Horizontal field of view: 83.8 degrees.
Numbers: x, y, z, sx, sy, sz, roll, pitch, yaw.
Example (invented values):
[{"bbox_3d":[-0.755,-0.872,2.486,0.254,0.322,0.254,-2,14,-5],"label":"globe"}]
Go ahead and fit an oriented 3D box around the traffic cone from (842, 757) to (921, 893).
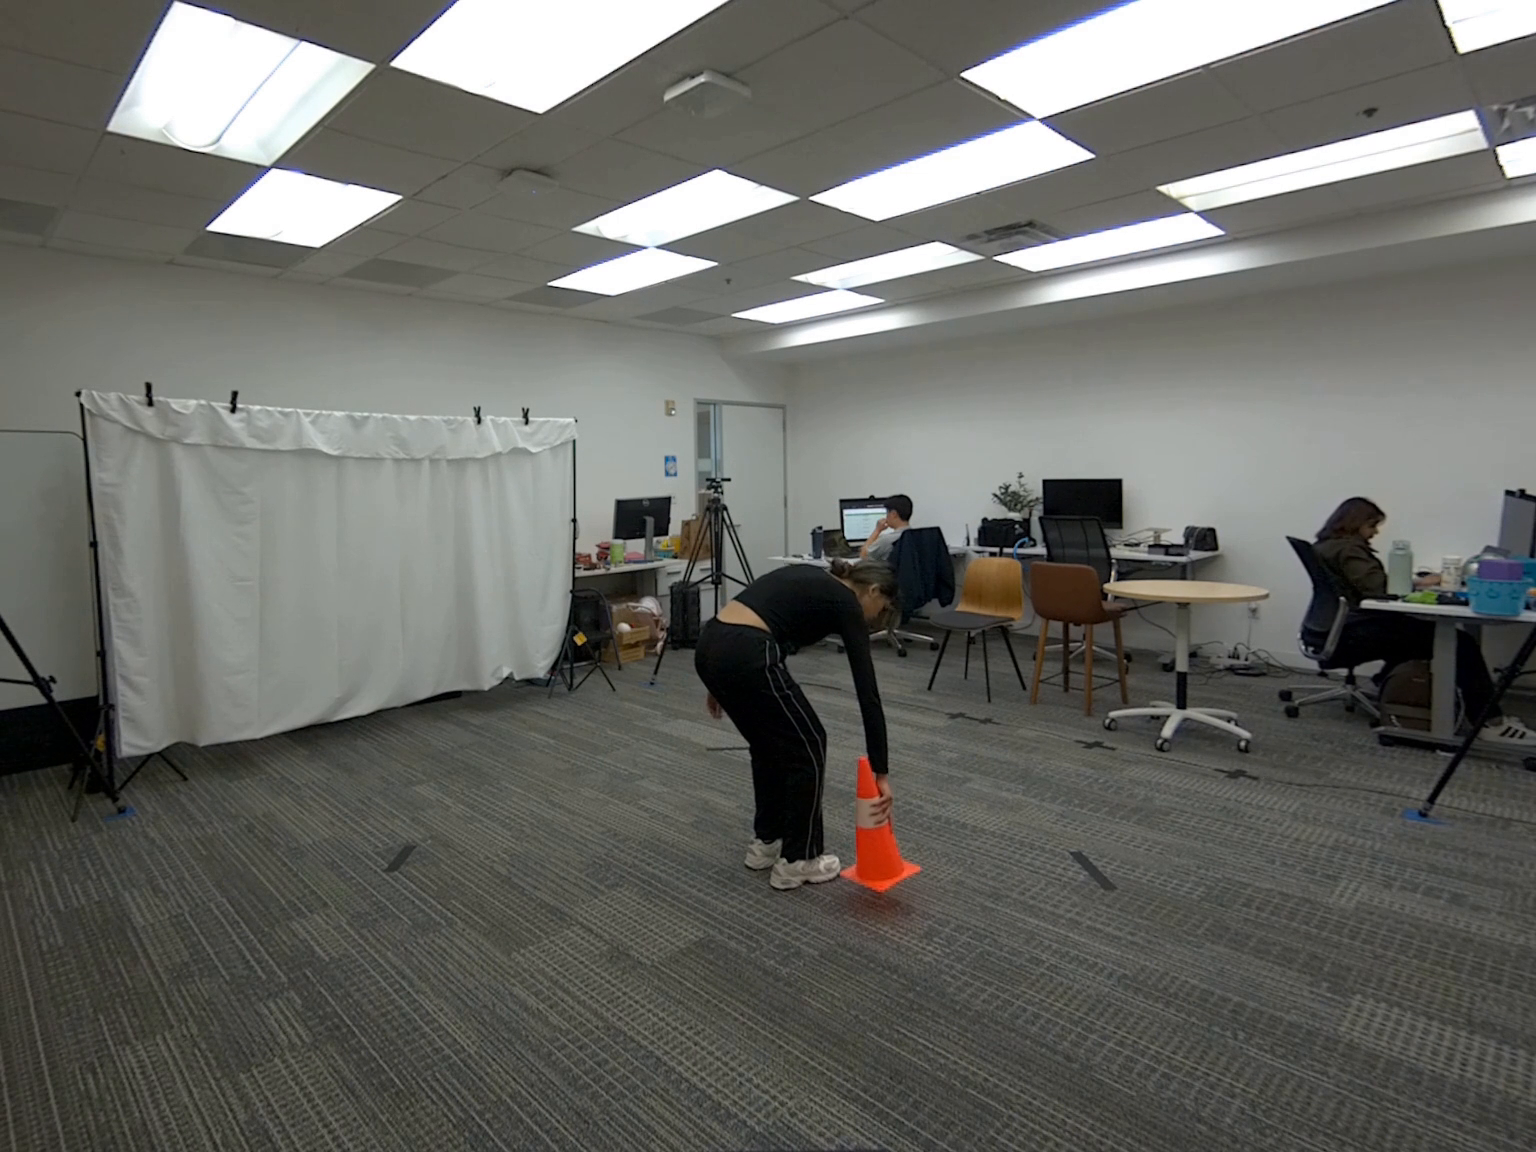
[{"bbox_3d":[0.346,0.782,2.791,0.200,0.383,0.208,-10,3,-34],"label":"traffic cone"}]
